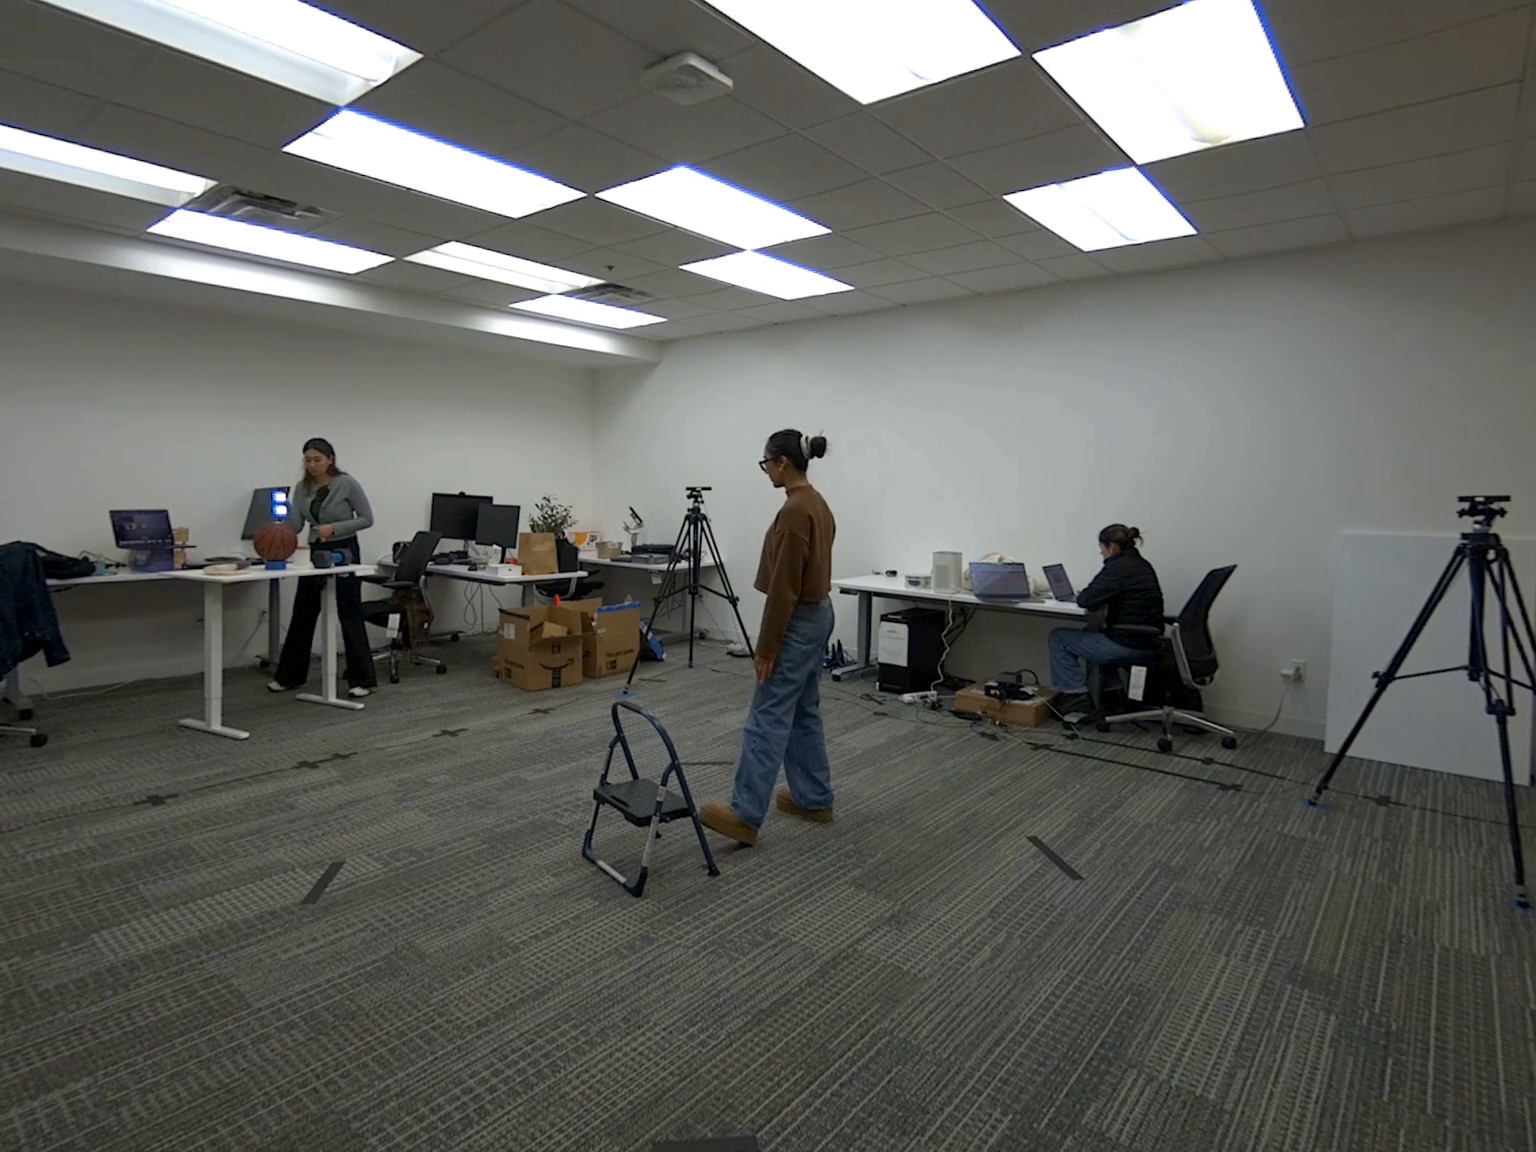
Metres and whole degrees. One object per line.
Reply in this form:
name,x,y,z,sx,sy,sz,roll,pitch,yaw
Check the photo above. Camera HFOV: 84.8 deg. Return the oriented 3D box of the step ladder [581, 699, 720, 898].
step ladder,-0.446,0.756,3.116,0.339,0.604,0.445,-2,5,-39
